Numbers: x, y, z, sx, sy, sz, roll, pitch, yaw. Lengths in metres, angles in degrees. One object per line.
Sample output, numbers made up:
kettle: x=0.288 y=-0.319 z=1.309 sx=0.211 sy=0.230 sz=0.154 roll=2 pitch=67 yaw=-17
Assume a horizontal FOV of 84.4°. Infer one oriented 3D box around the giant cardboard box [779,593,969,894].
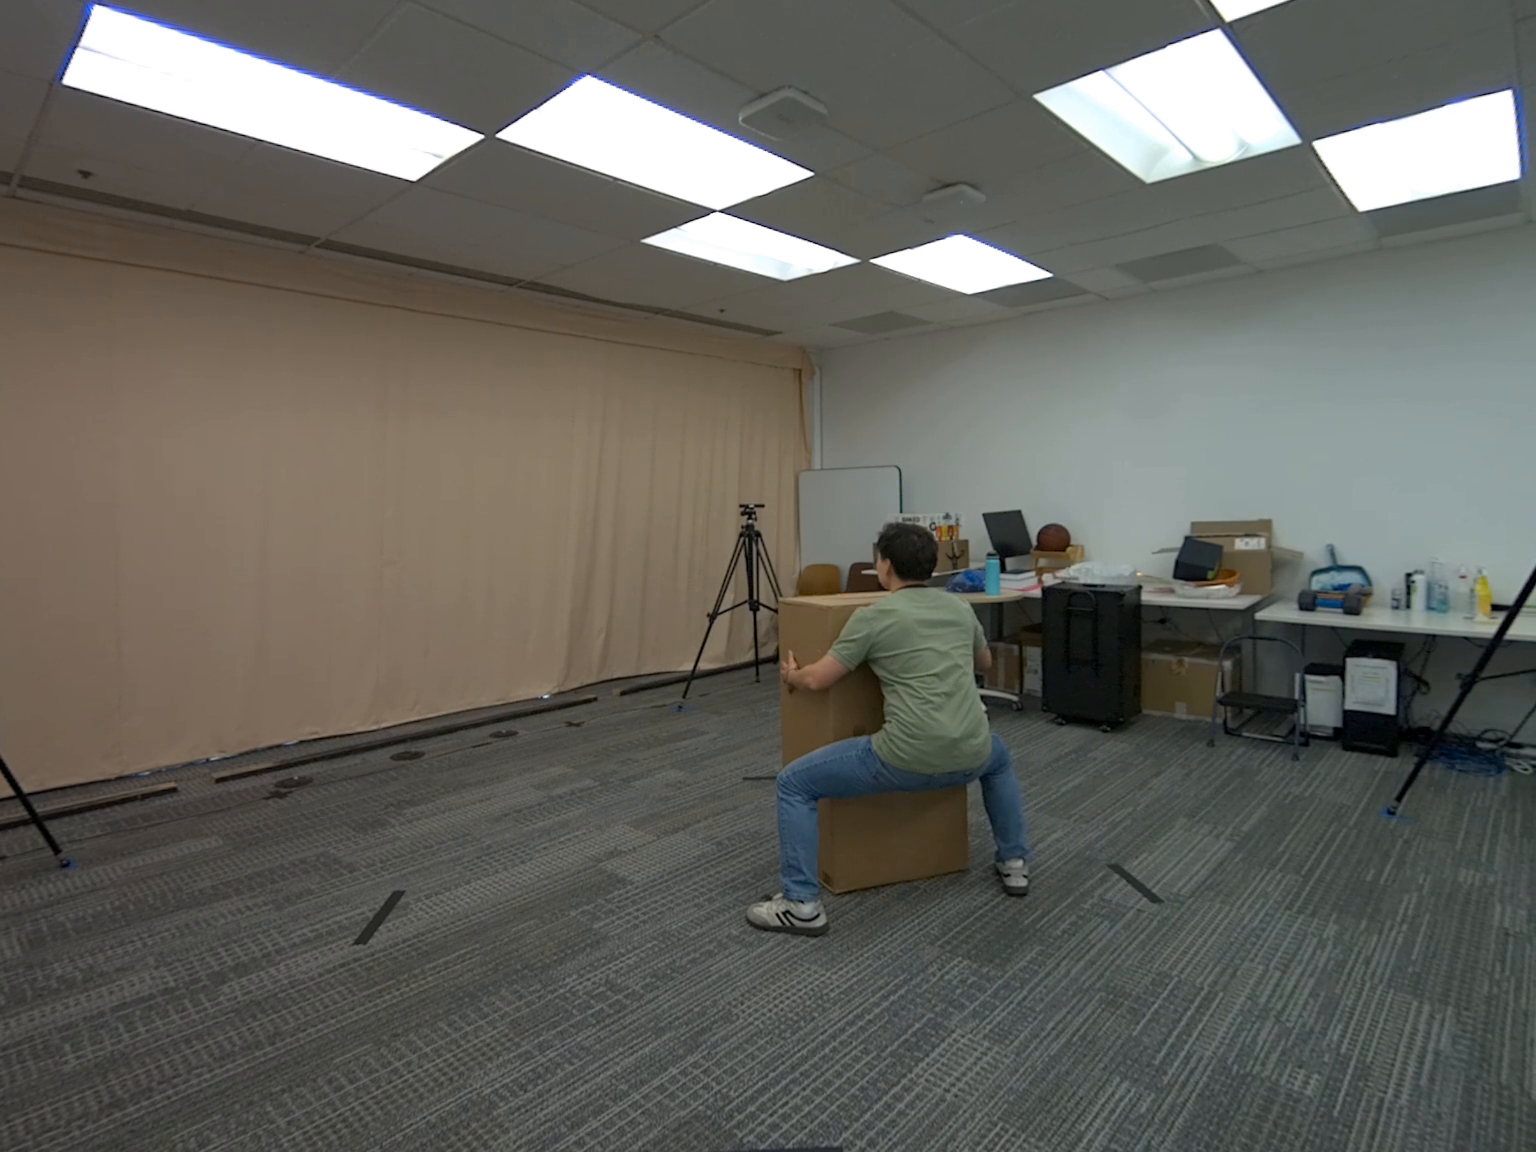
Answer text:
giant cardboard box: x=0.400 y=0.596 z=3.262 sx=0.565 sy=1.024 sz=0.436 roll=-2 pitch=2 yaw=-22
